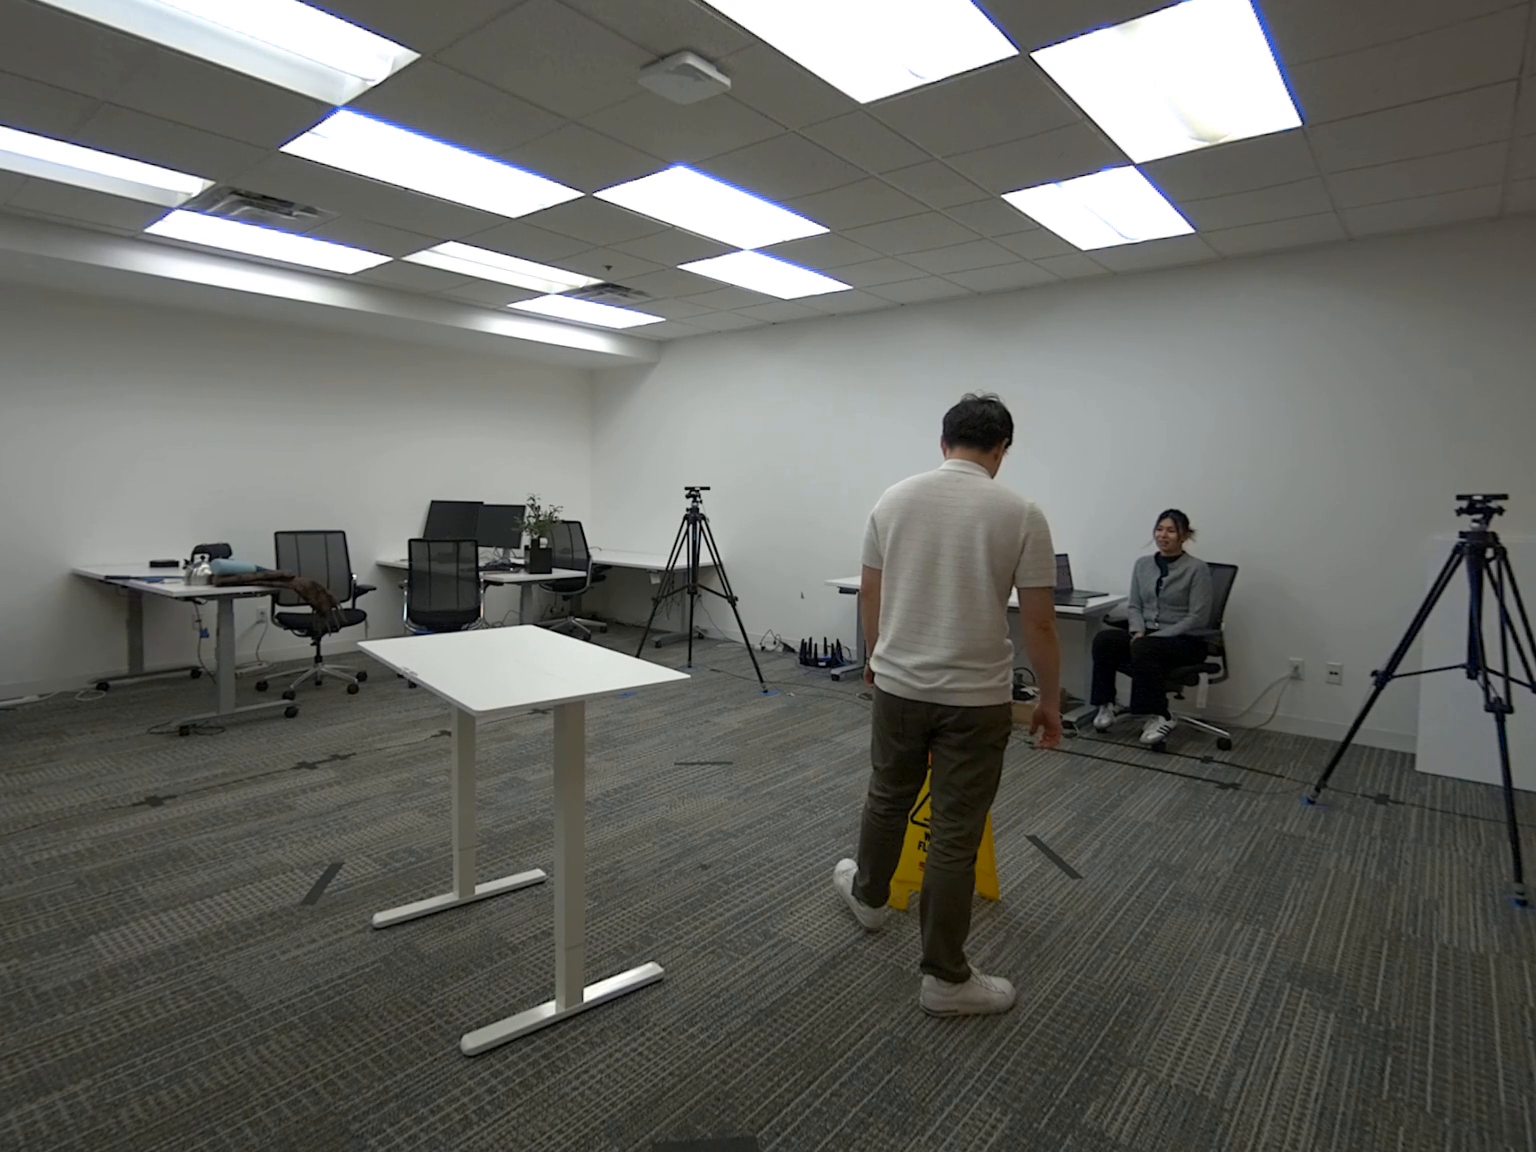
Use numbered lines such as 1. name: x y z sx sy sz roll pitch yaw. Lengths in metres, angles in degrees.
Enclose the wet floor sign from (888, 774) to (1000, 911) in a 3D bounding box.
1. wet floor sign: 0.591 0.781 2.865 0.291 0.644 0.281 4 4 38
